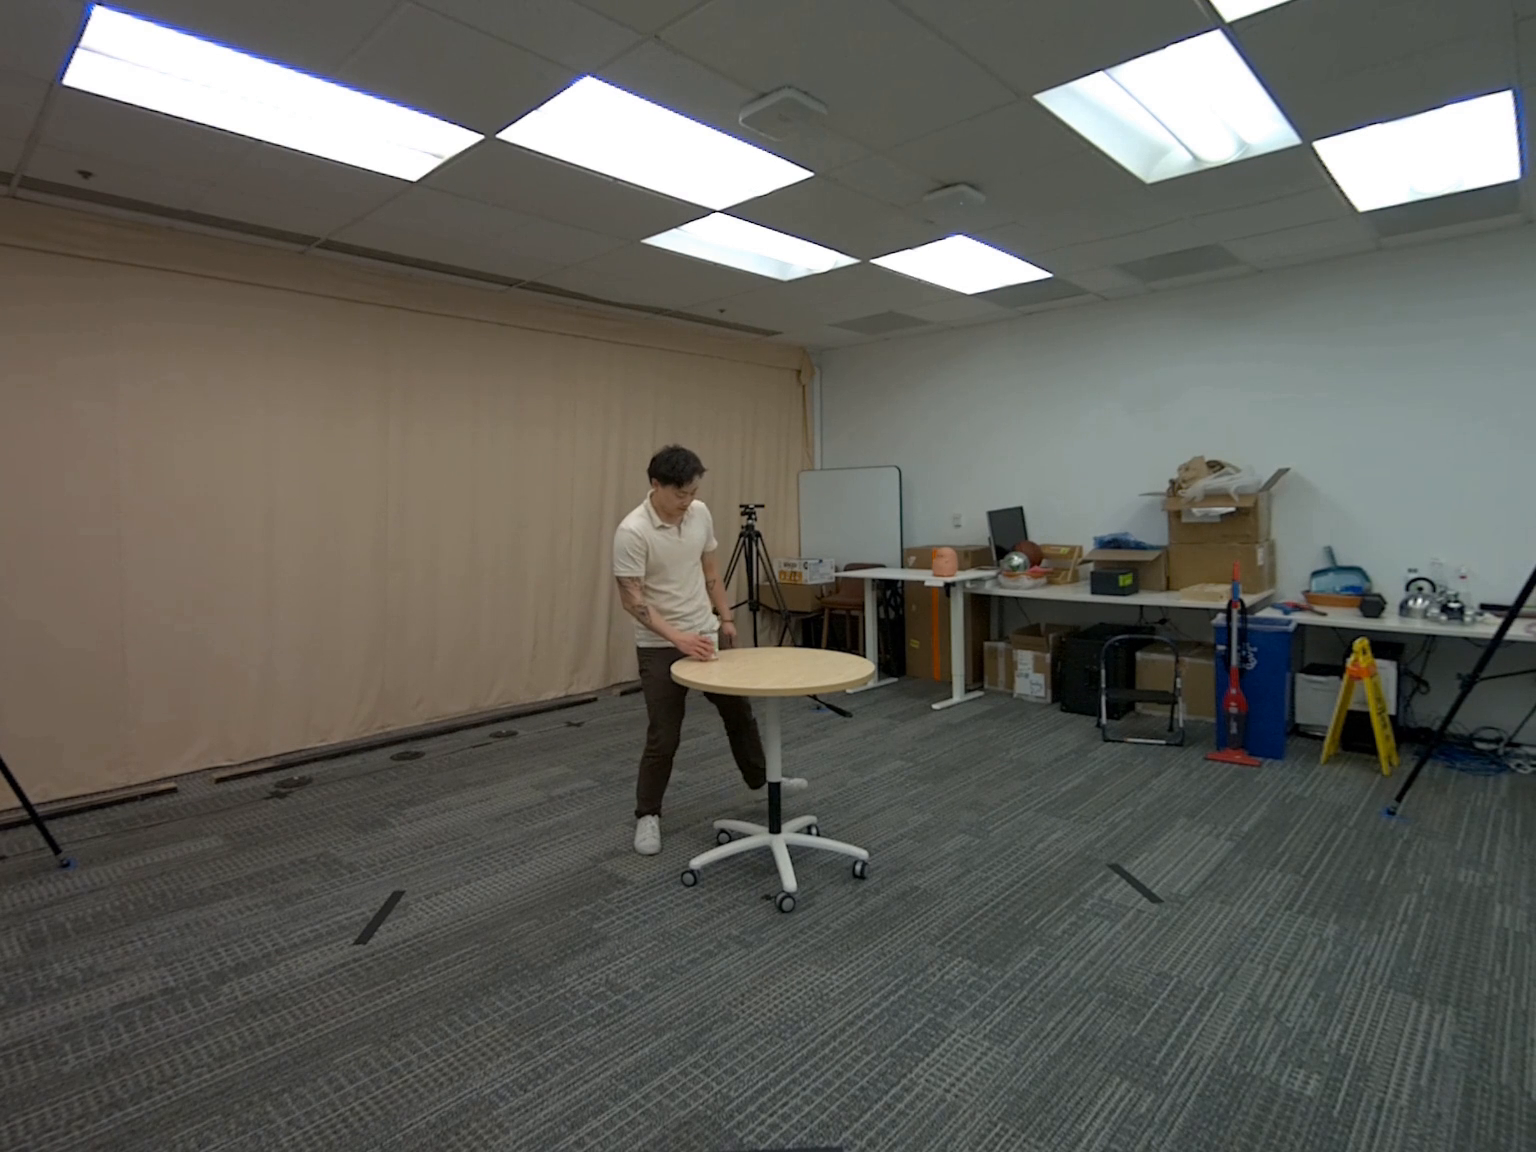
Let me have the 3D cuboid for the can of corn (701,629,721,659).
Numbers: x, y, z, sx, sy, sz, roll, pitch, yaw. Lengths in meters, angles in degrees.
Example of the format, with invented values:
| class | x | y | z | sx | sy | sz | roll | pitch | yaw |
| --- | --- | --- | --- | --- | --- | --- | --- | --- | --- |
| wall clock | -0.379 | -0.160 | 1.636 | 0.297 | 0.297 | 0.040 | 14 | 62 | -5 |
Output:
| class | x | y | z | sx | sy | sz | roll | pitch | yaw |
| --- | --- | --- | --- | --- | --- | --- | --- | --- | --- |
| can of corn | -0.242 | 0.276 | 3.316 | 0.074 | 0.111 | 0.074 | -5 | 3 | -2 |
